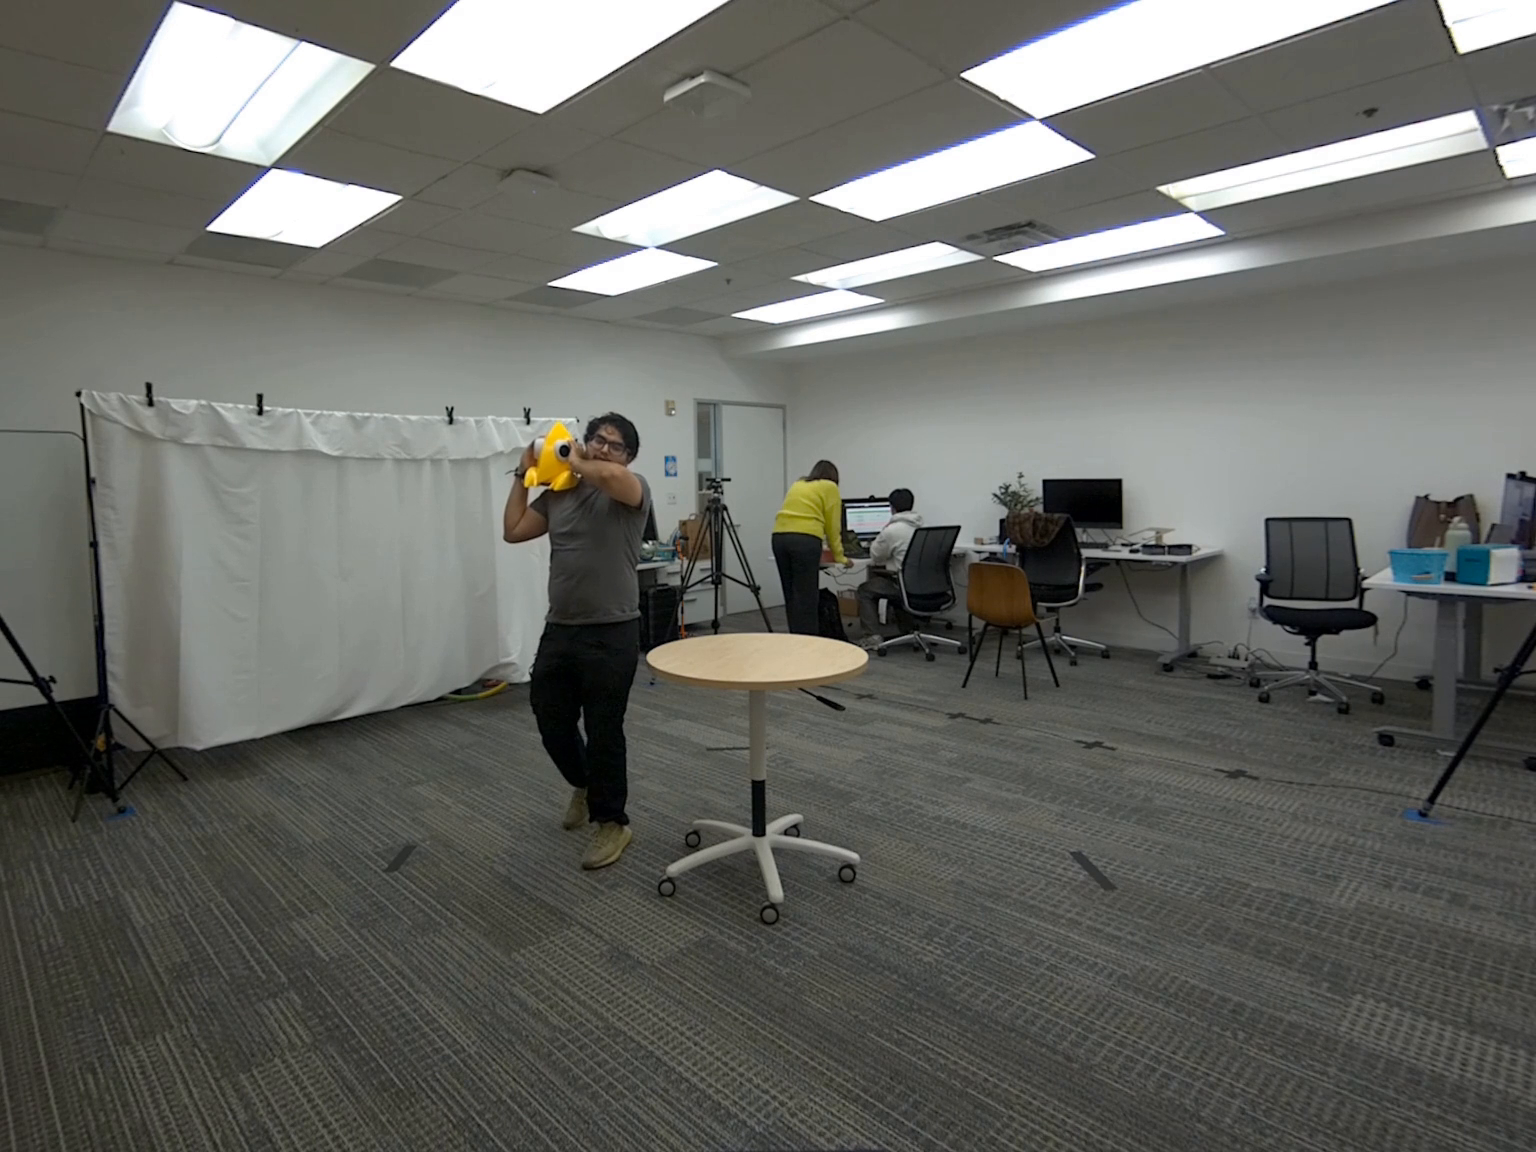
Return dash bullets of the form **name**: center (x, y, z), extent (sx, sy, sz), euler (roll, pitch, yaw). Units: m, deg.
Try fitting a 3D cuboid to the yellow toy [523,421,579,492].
- **yellow toy**: center (-0.809, -0.458, 3.189), extent (0.209, 0.227, 0.192), euler (8, 21, 18)
